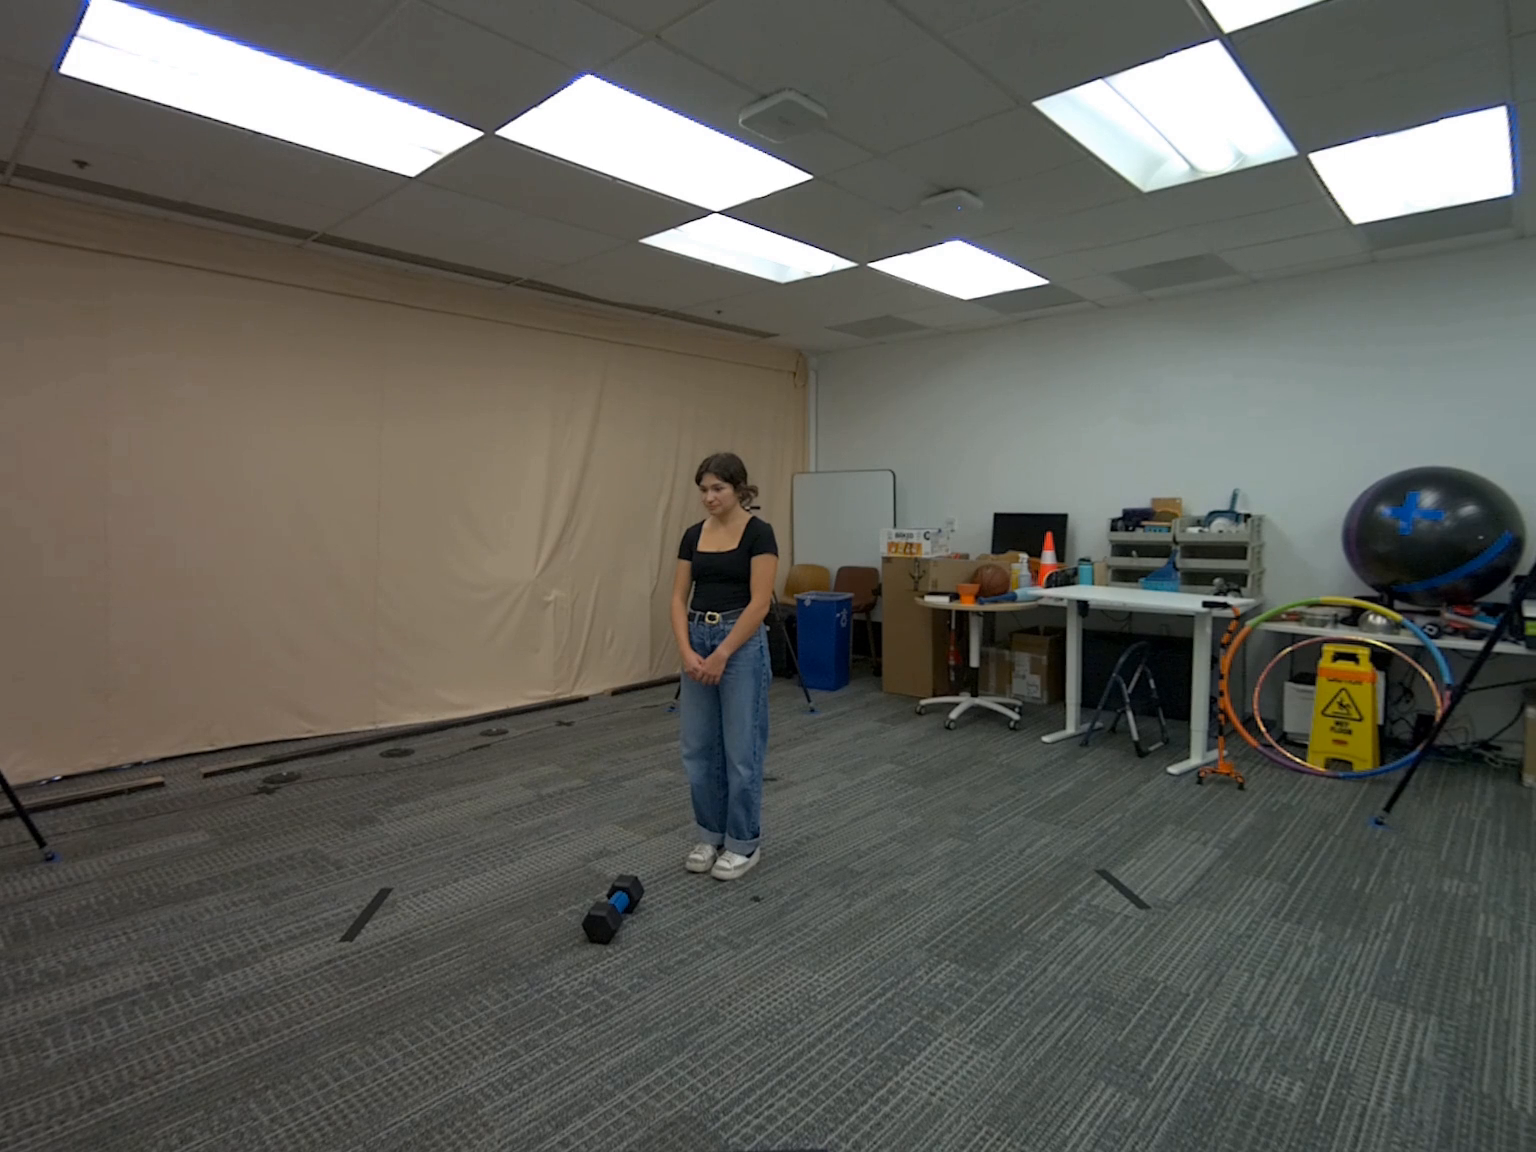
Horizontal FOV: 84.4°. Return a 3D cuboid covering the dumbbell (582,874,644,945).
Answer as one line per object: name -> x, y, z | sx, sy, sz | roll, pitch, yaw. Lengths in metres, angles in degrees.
dumbbell -> -0.513, 1.108, 2.809 | 0.109, 0.123, 0.290 | -30, -1, 12
